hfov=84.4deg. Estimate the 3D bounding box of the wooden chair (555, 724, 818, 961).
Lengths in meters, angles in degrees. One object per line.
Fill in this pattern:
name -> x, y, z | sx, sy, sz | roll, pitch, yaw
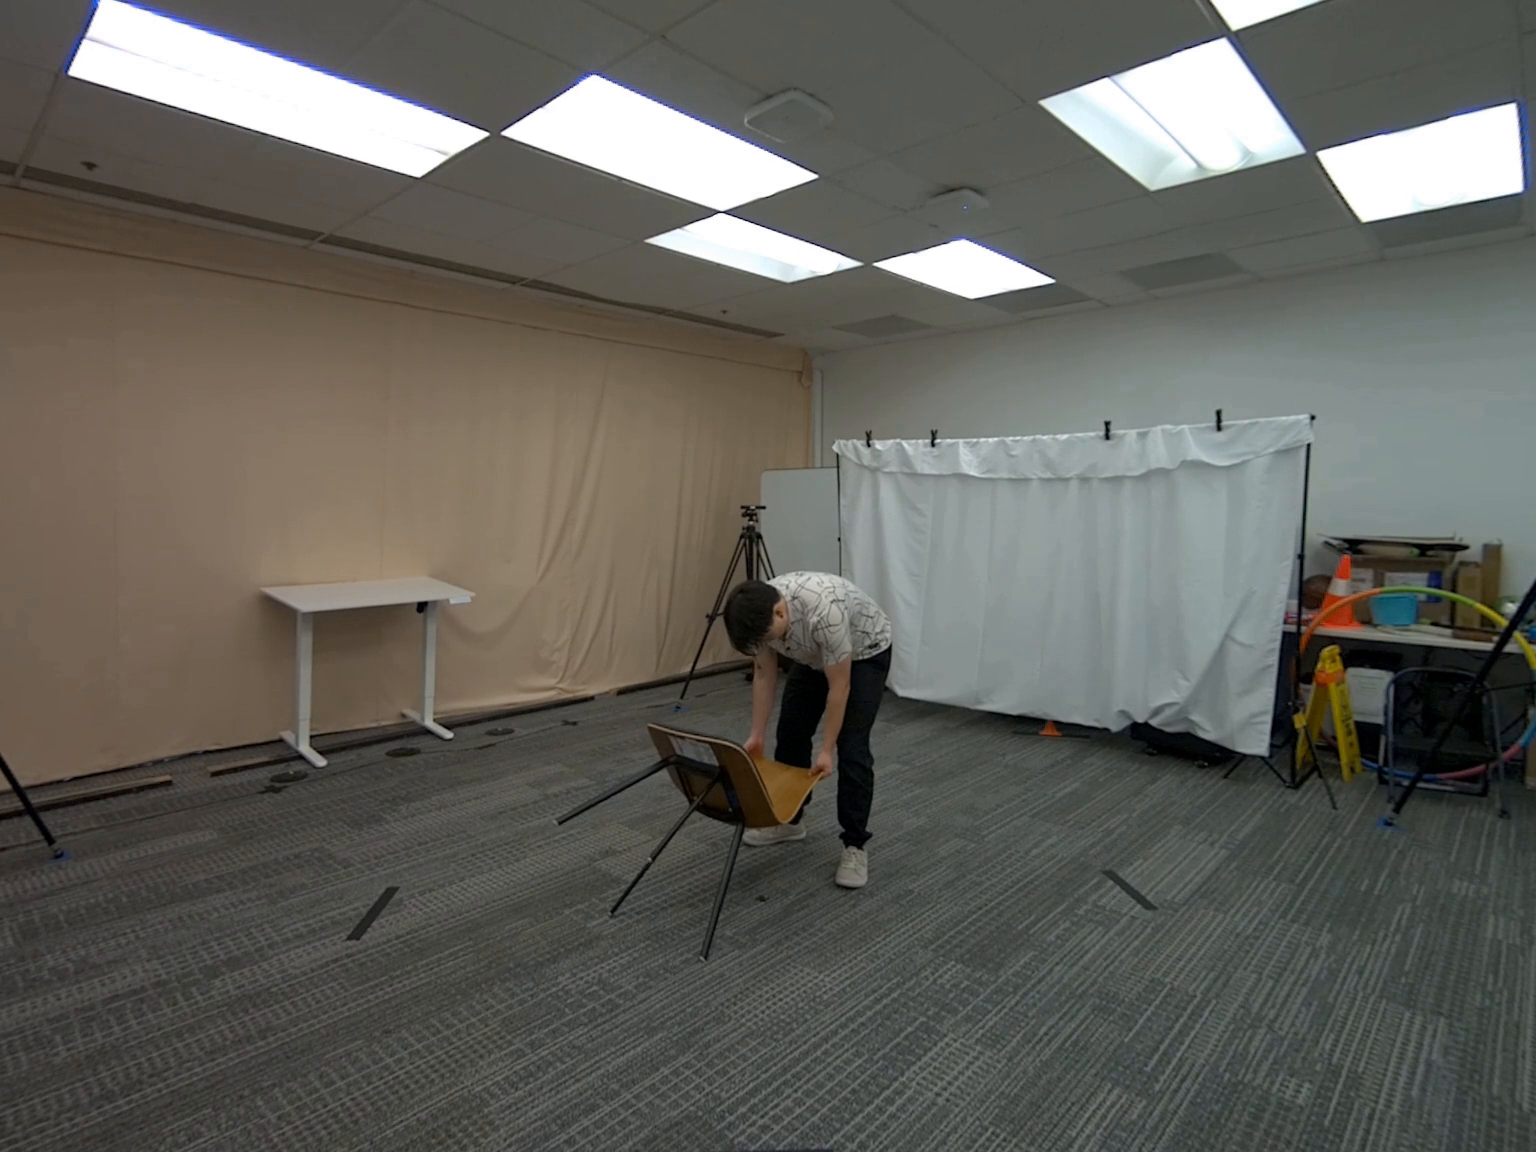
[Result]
wooden chair -> -0.210, 0.737, 2.889 | 0.494, 0.513, 0.866 | 2, 31, 41
